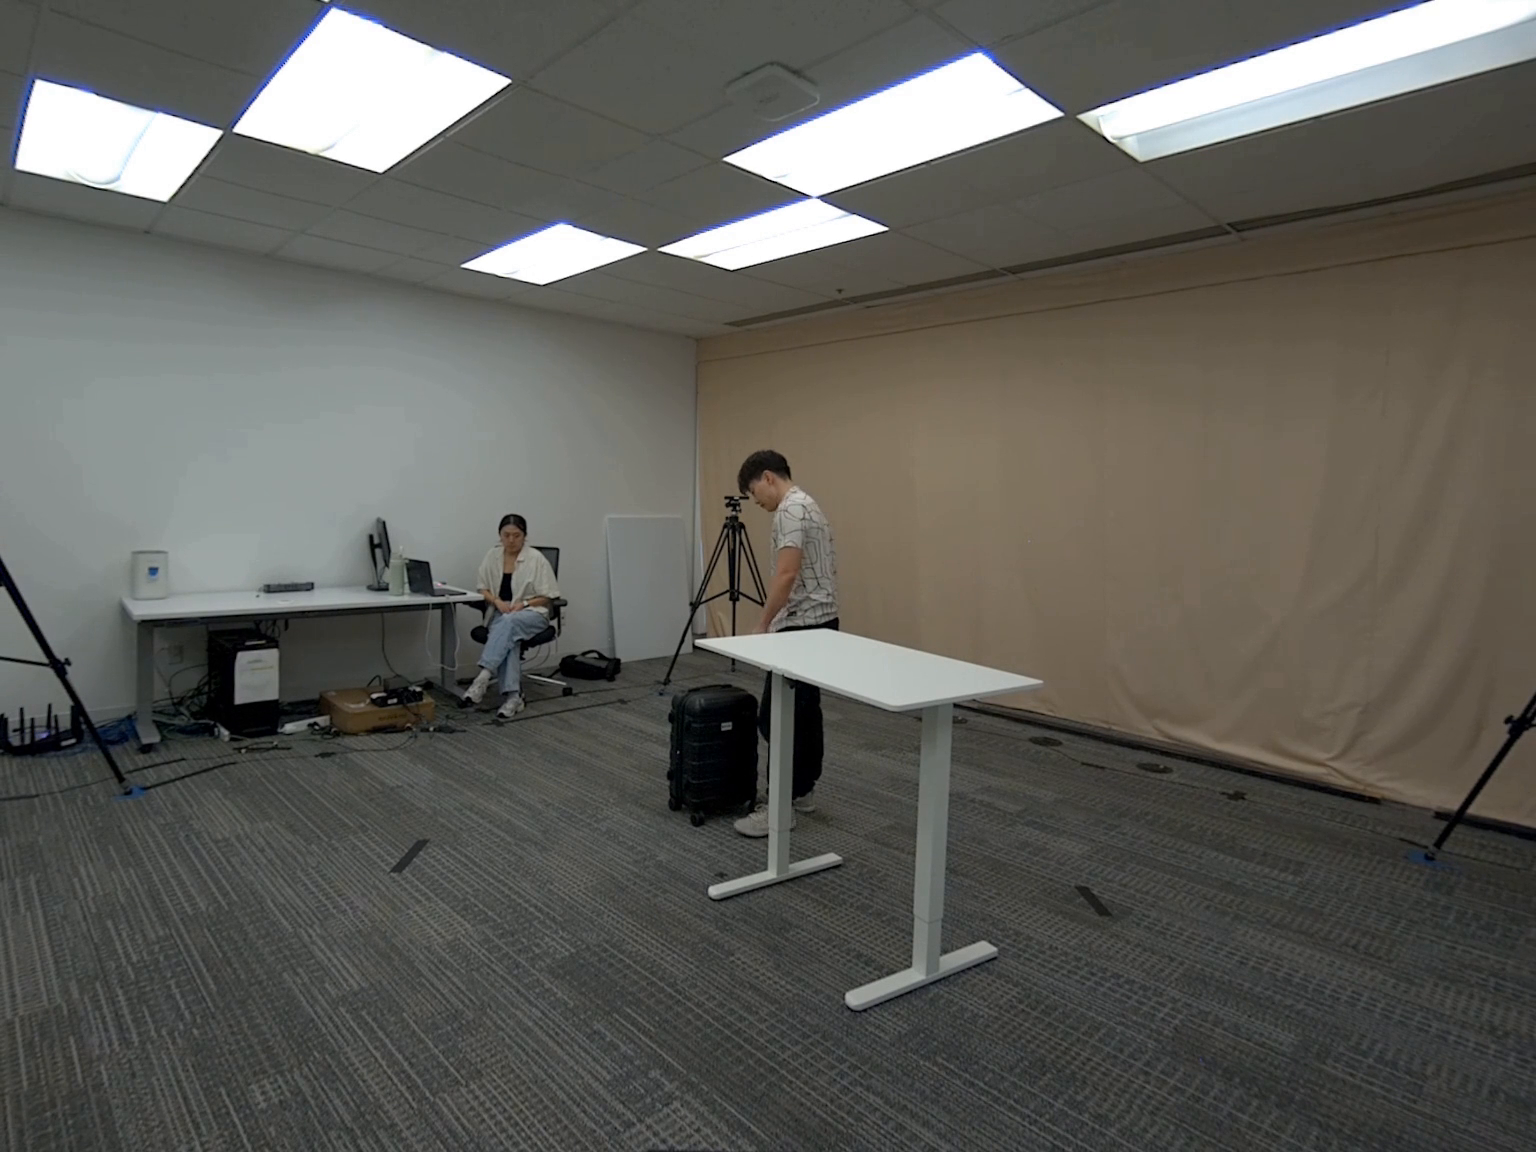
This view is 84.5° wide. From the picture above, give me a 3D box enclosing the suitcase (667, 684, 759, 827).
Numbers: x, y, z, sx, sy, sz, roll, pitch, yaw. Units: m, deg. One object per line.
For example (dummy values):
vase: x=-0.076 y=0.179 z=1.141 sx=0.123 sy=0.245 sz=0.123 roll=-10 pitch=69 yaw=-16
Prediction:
suitcase: x=-0.247 y=0.766 z=3.739 sx=0.367 sy=0.548 sz=0.254 roll=-1 pitch=3 yaw=-32
